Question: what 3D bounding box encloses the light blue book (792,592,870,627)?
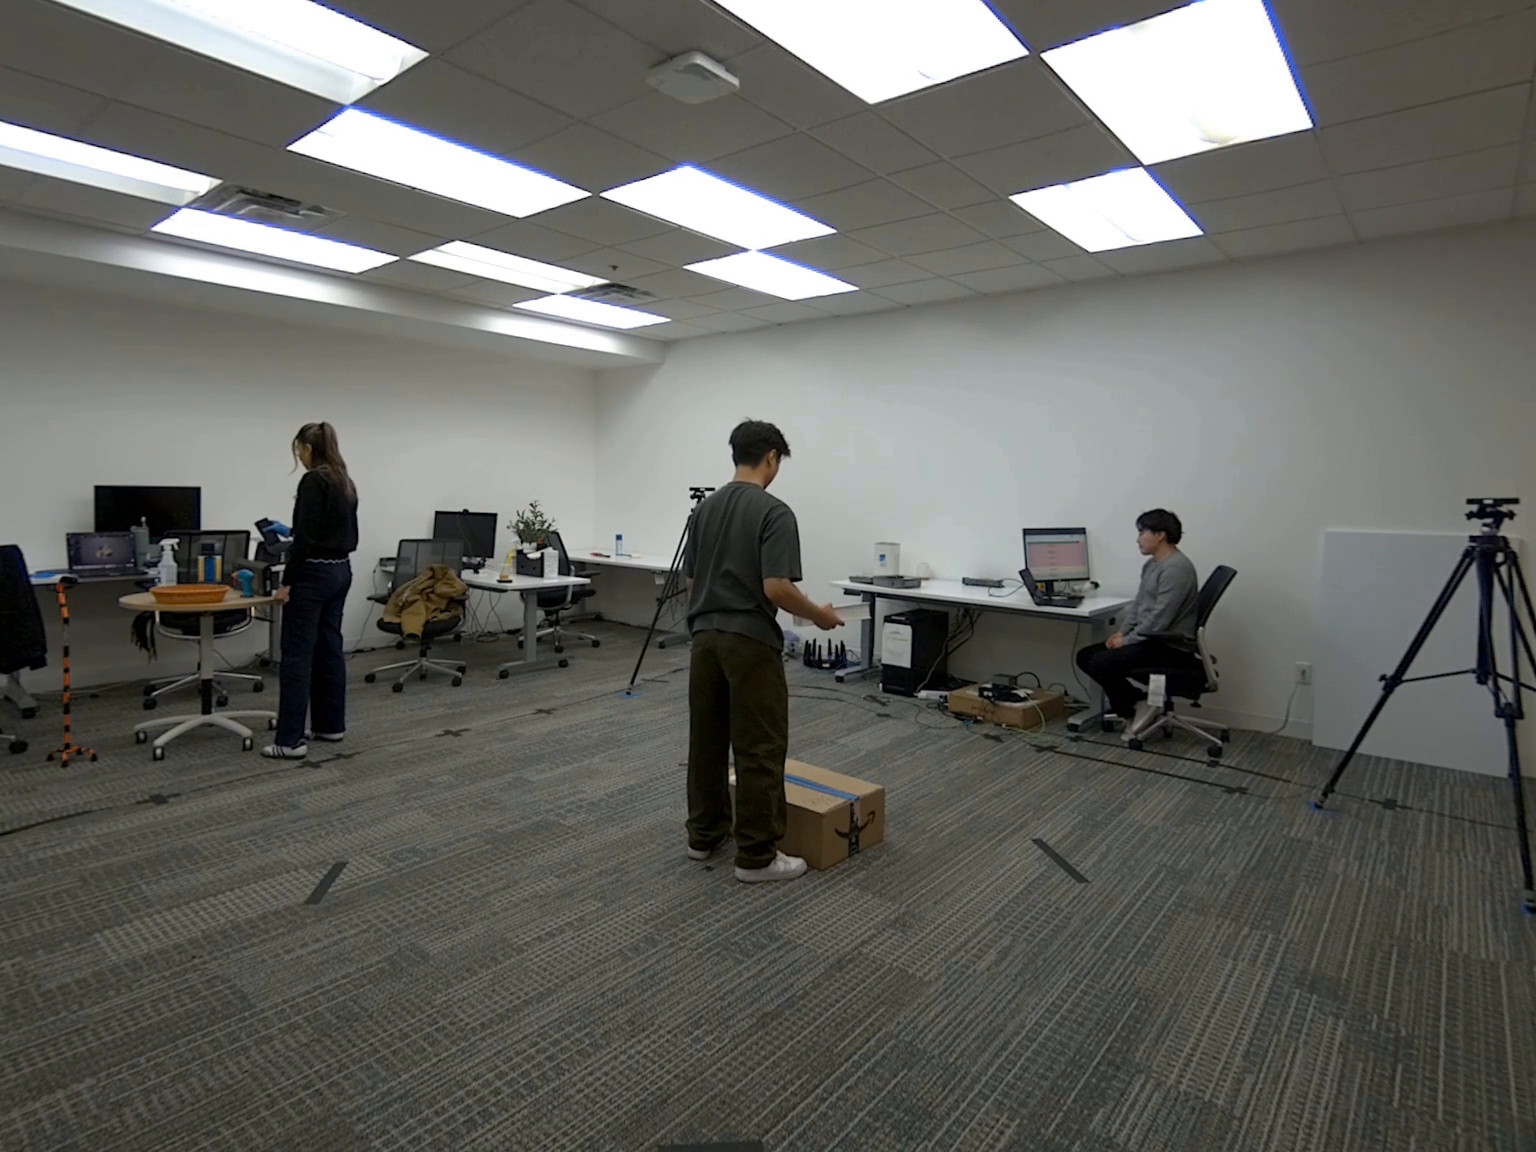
[{"bbox_3d":[0.227,0.143,3.207,0.261,0.059,0.191,-6,1,1],"label":"light blue book"}]
